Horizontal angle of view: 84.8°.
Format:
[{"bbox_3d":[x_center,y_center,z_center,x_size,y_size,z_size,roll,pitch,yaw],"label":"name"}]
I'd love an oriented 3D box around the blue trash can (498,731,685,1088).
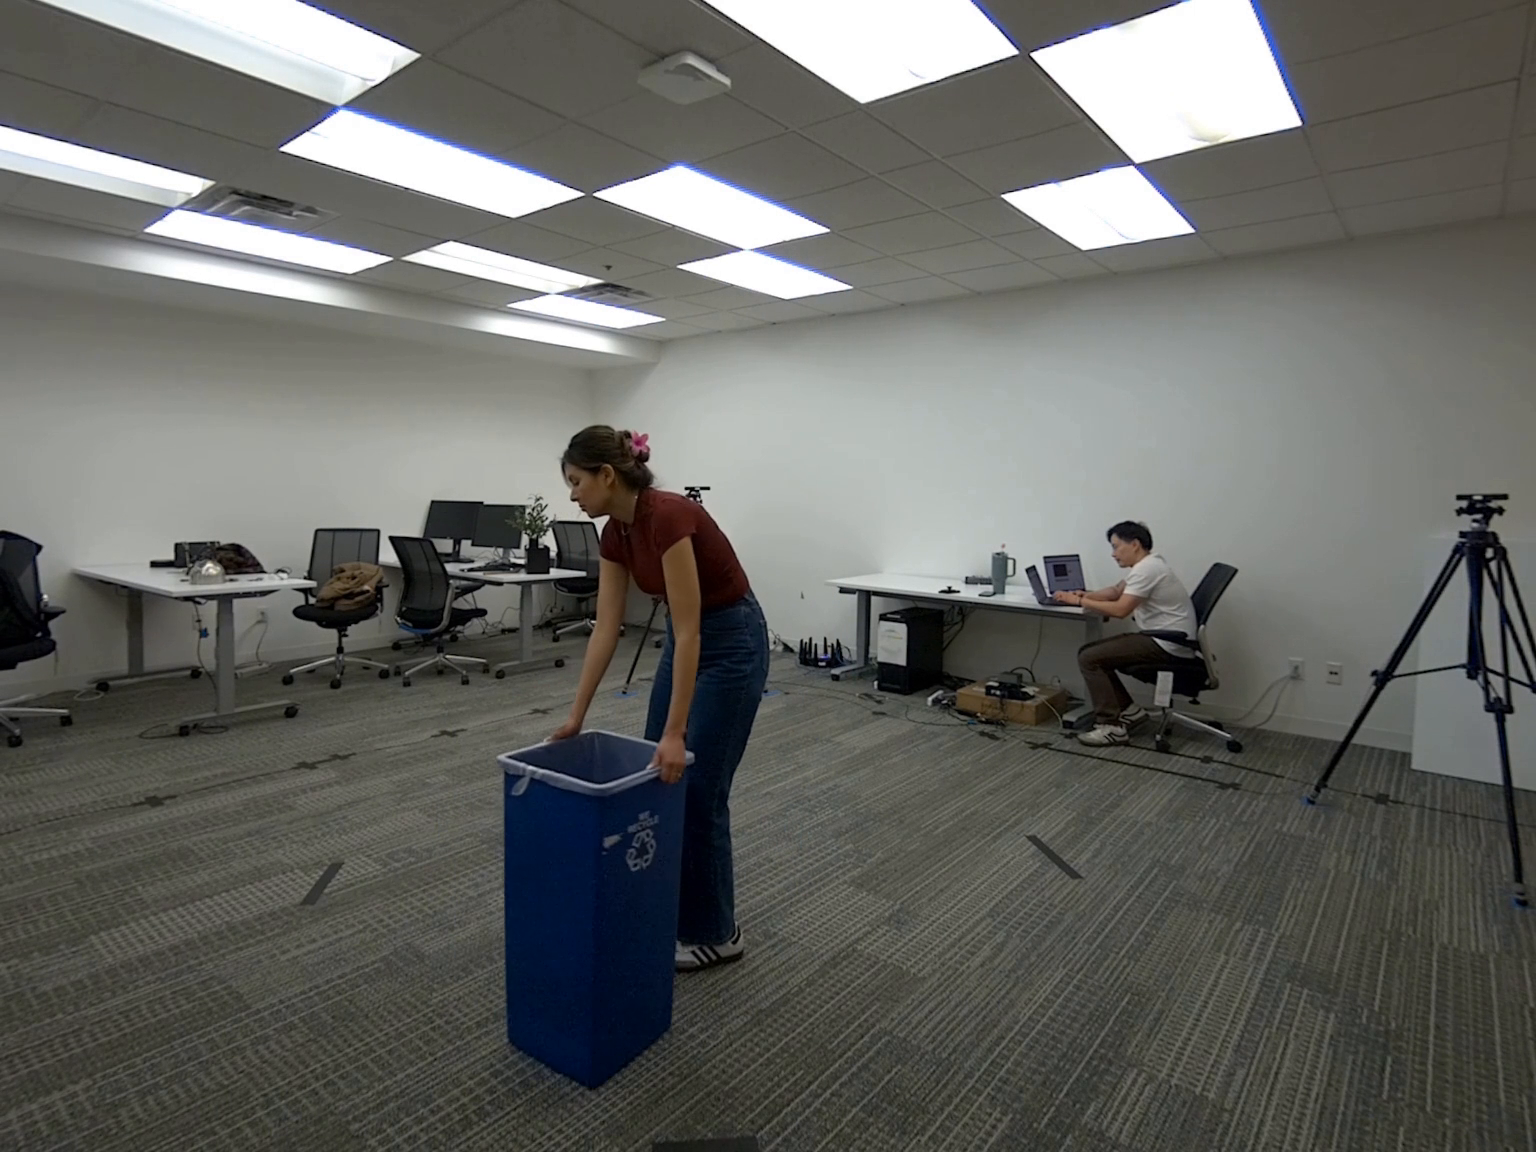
[{"bbox_3d":[-0.455,0.797,2.156,0.390,0.712,0.363,4,3,32],"label":"blue trash can"}]
